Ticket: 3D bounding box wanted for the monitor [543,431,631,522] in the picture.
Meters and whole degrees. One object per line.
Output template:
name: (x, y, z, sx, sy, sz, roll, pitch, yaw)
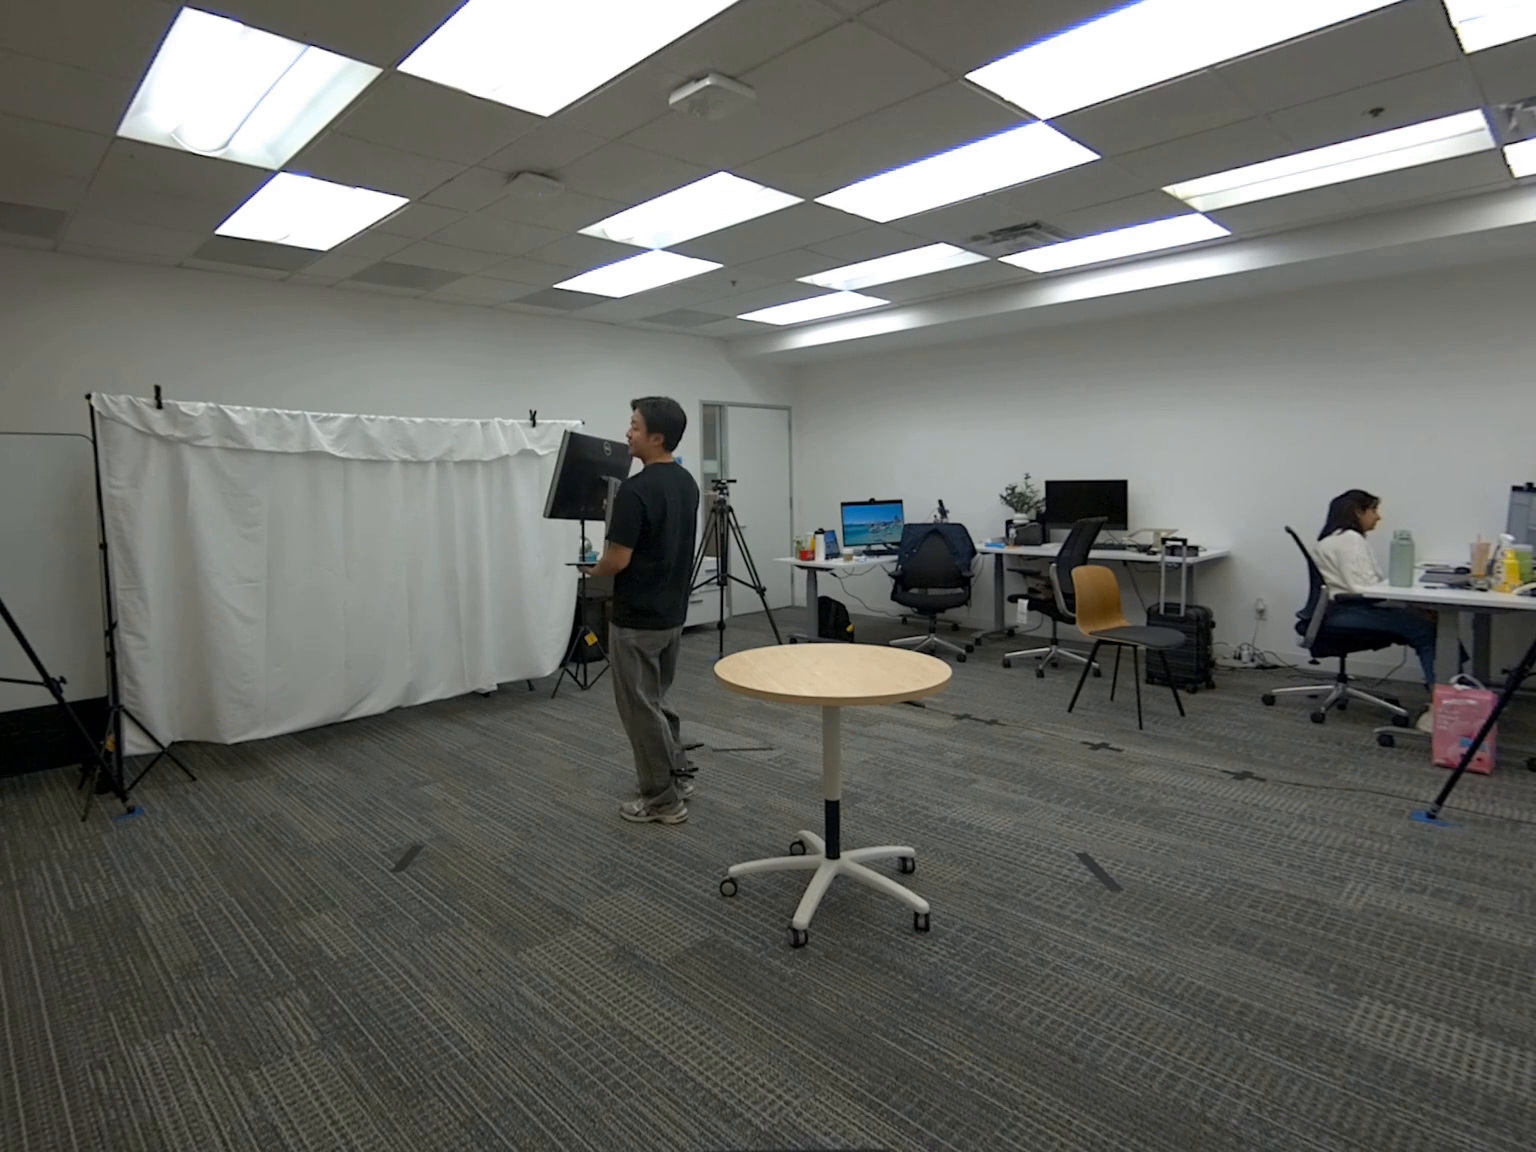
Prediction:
monitor: (-0.715, -0.308, 3.620, 0.227, 0.566, 0.550, 0, 0, 23)
